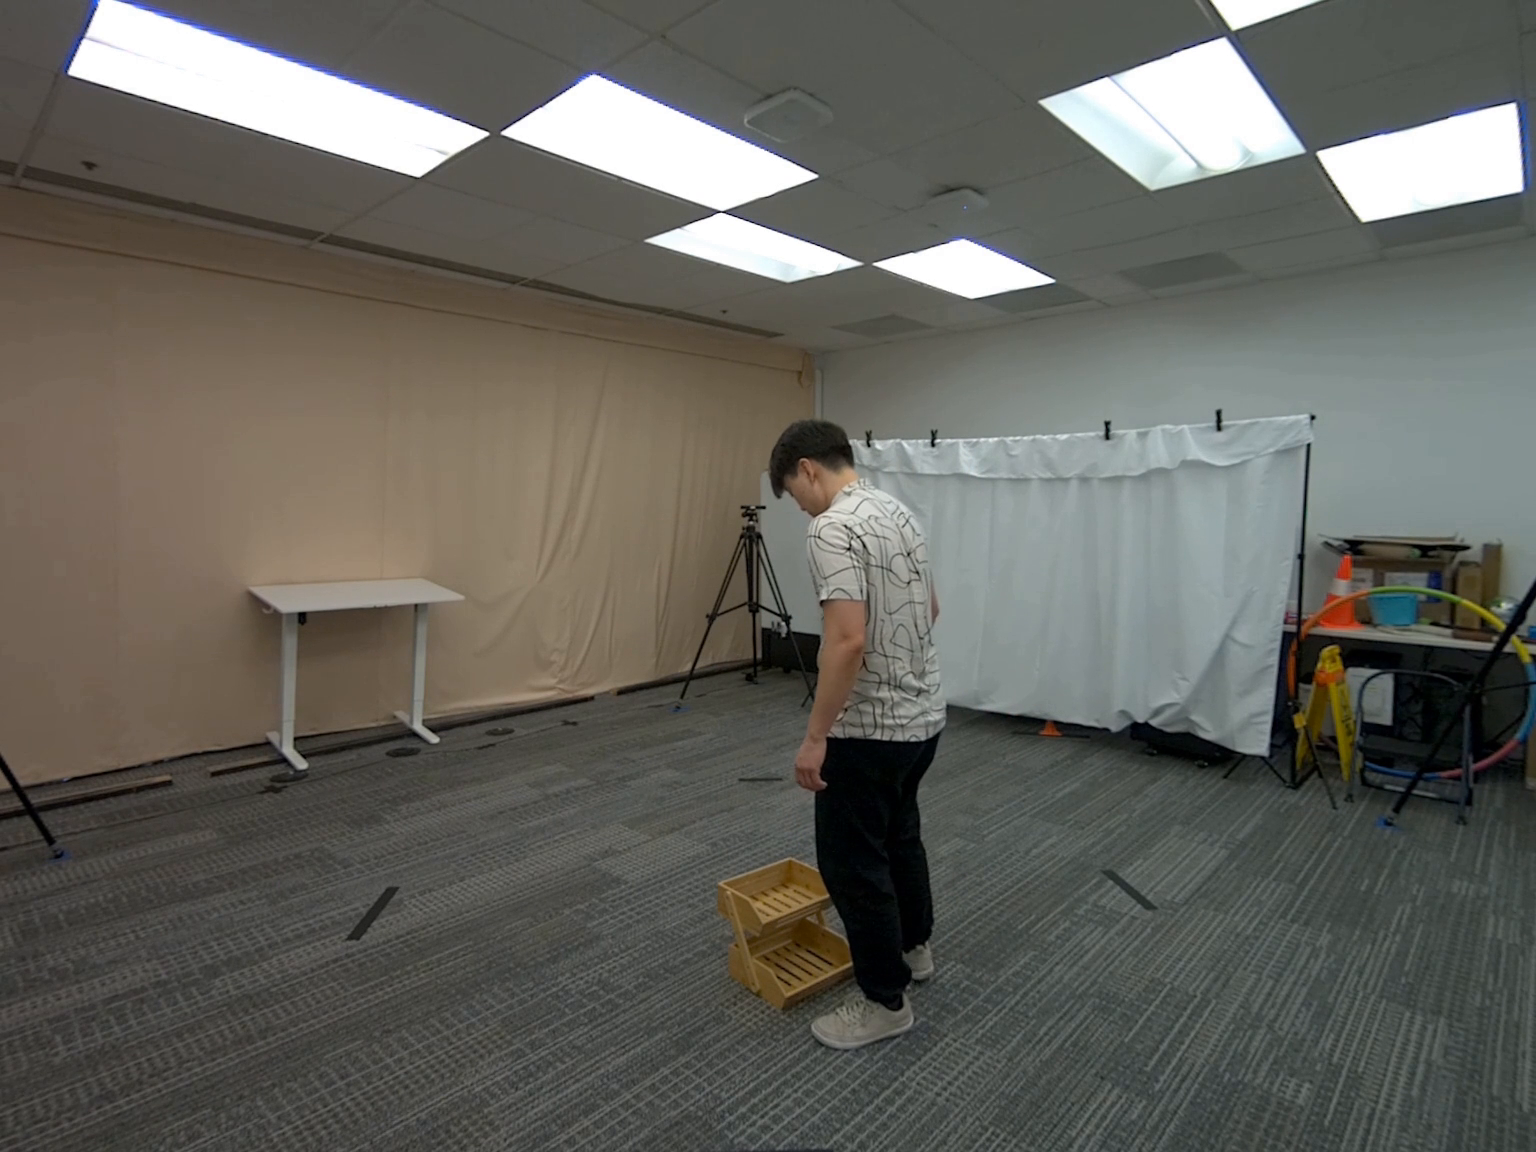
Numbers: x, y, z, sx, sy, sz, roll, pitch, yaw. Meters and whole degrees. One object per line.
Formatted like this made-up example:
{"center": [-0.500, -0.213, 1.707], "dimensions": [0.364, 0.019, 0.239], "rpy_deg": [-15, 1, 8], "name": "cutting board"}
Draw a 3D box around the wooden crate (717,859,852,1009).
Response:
{"center": [0.063, 1.053, 2.503], "dimensions": [0.314, 0.273, 0.312], "rpy_deg": [-3, 4, -40], "name": "wooden crate"}
